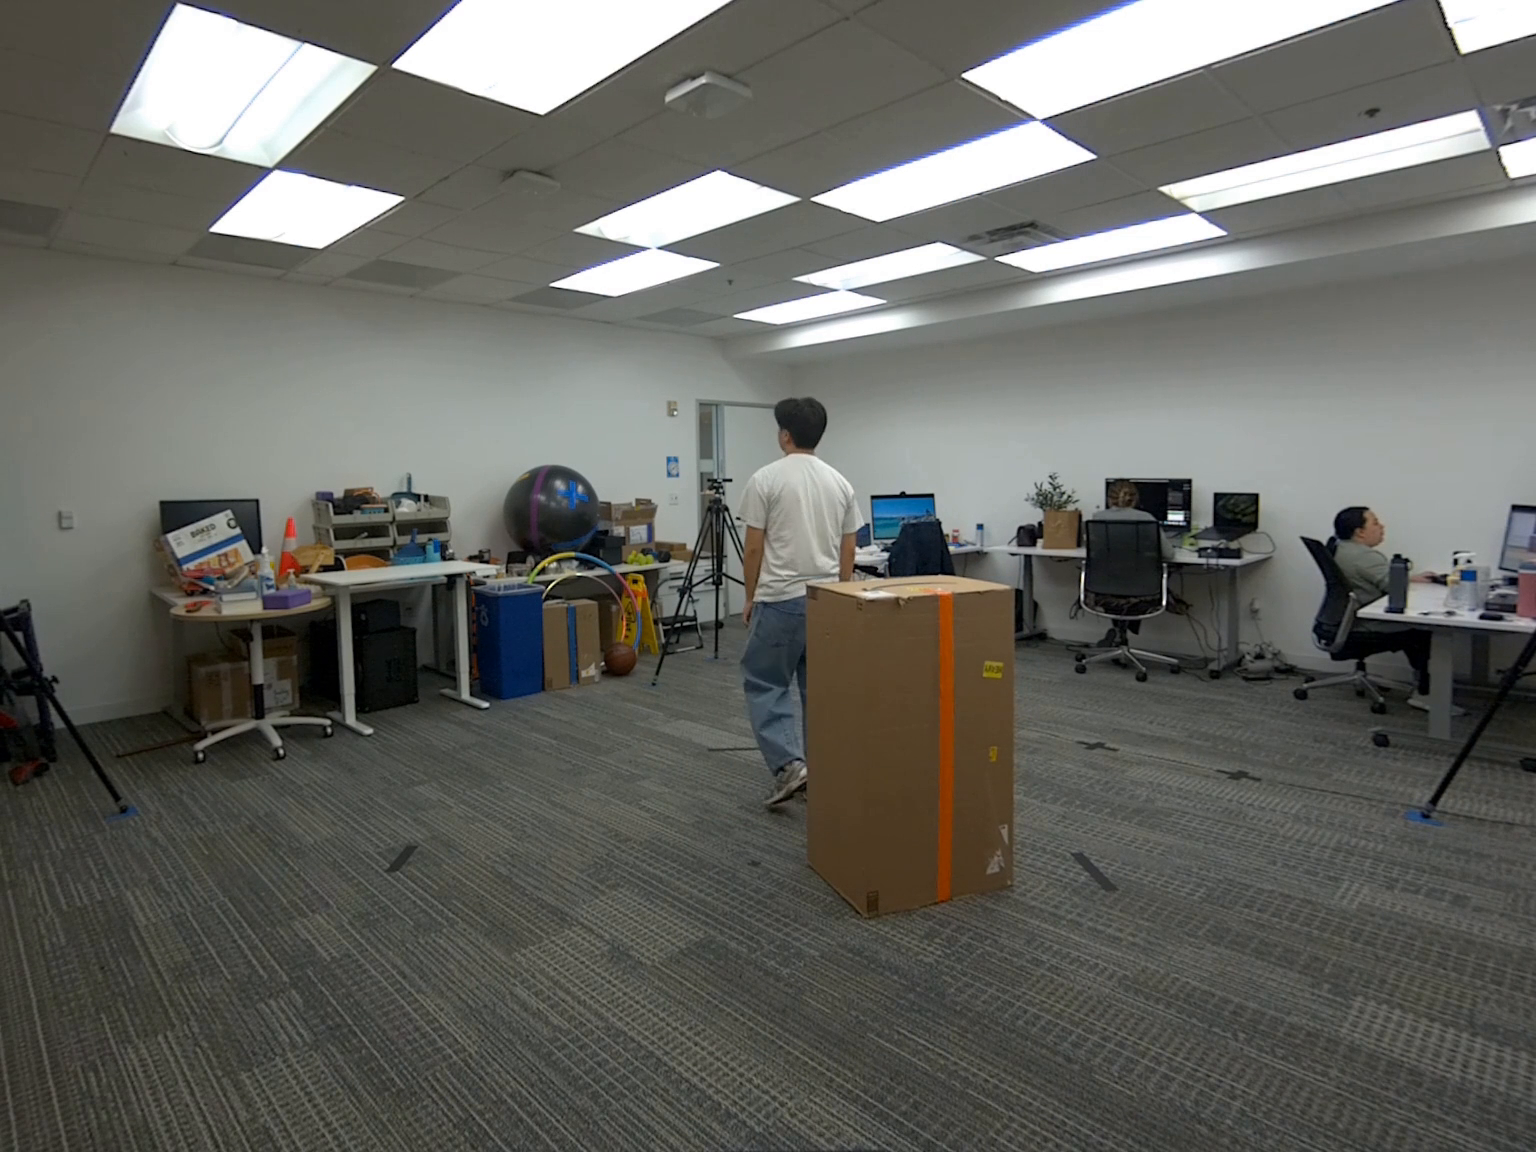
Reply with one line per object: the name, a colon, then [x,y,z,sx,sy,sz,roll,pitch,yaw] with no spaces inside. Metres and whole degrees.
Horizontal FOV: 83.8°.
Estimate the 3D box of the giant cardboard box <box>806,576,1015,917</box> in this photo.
giant cardboard box: [0.484,0.542,2.963,0.566,1.022,0.436,-2,4,-23]
